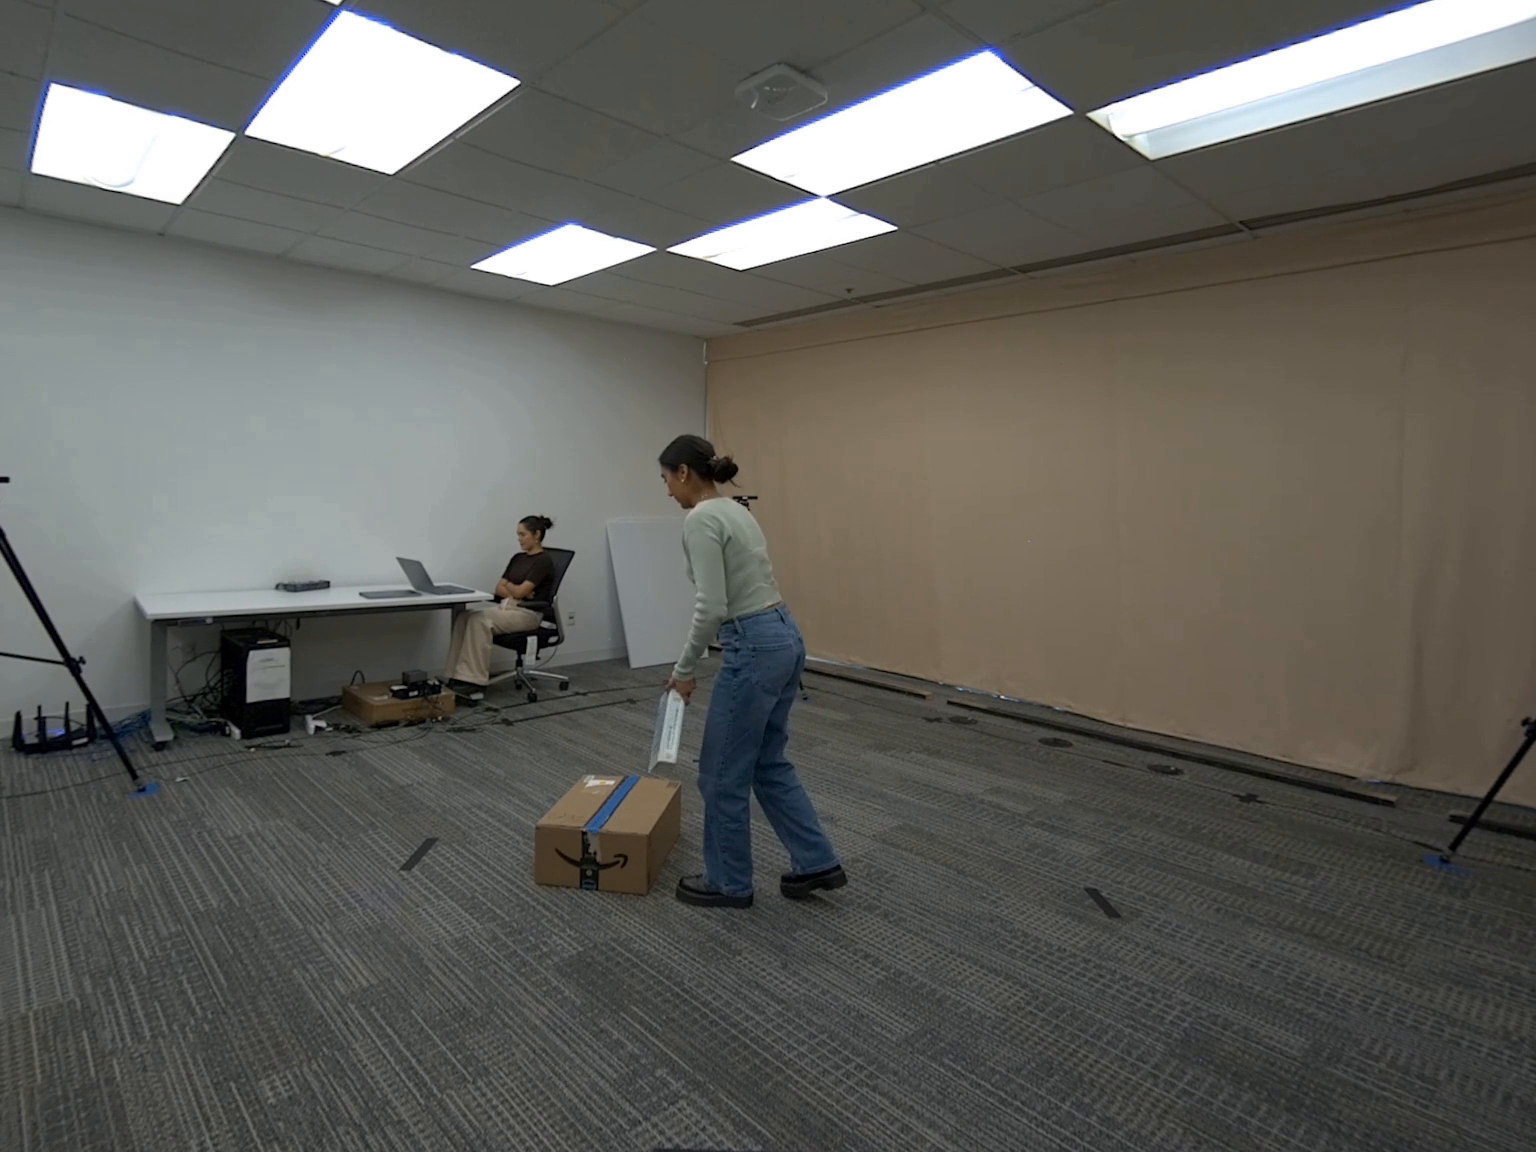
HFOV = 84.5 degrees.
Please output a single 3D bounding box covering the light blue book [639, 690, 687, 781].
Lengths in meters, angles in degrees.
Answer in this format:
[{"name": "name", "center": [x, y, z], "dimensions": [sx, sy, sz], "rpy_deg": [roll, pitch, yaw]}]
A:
[{"name": "light blue book", "center": [-0.329, 0.511, 2.783], "dimensions": [0.058, 0.265, 0.190], "rpy_deg": [13, -27, -11]}]
